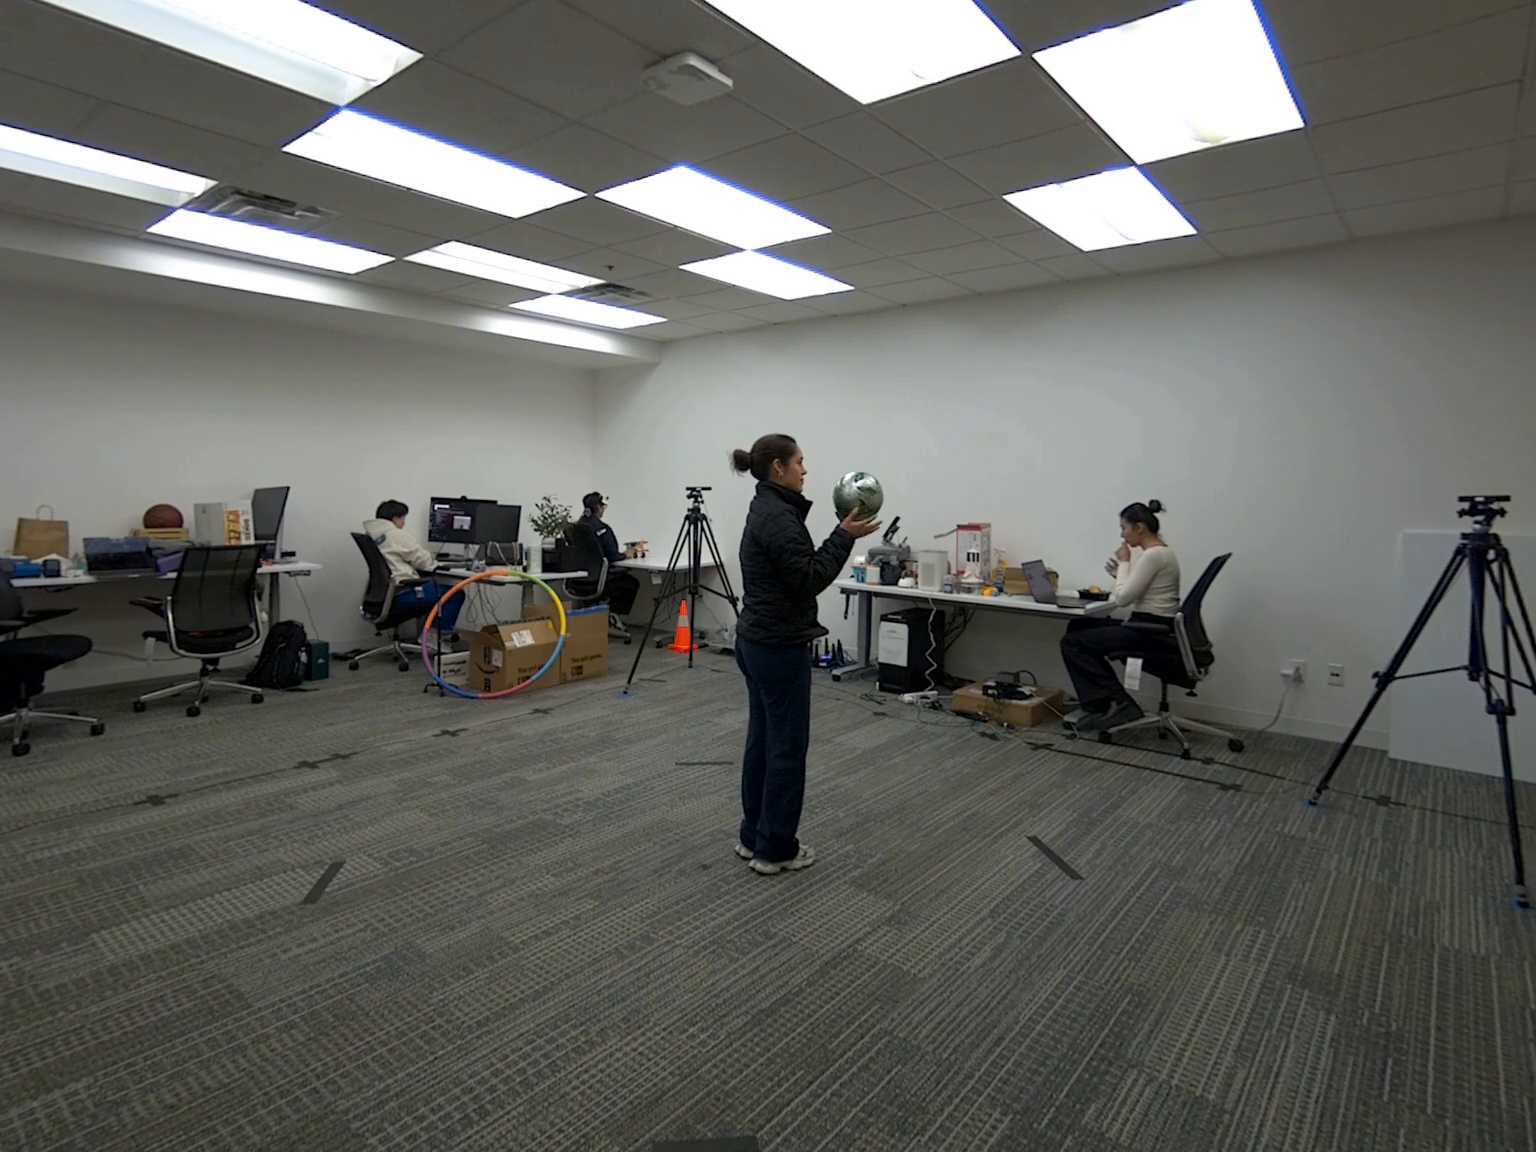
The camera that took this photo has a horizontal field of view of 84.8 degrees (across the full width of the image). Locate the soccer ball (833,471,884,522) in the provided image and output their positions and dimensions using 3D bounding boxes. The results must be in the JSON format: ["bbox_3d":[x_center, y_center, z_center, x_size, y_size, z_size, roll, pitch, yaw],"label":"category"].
[{"bbox_3d":[0.334,-0.287,3.158,0.187,0.187,0.188,1,4,-2],"label":"soccer ball"}]
